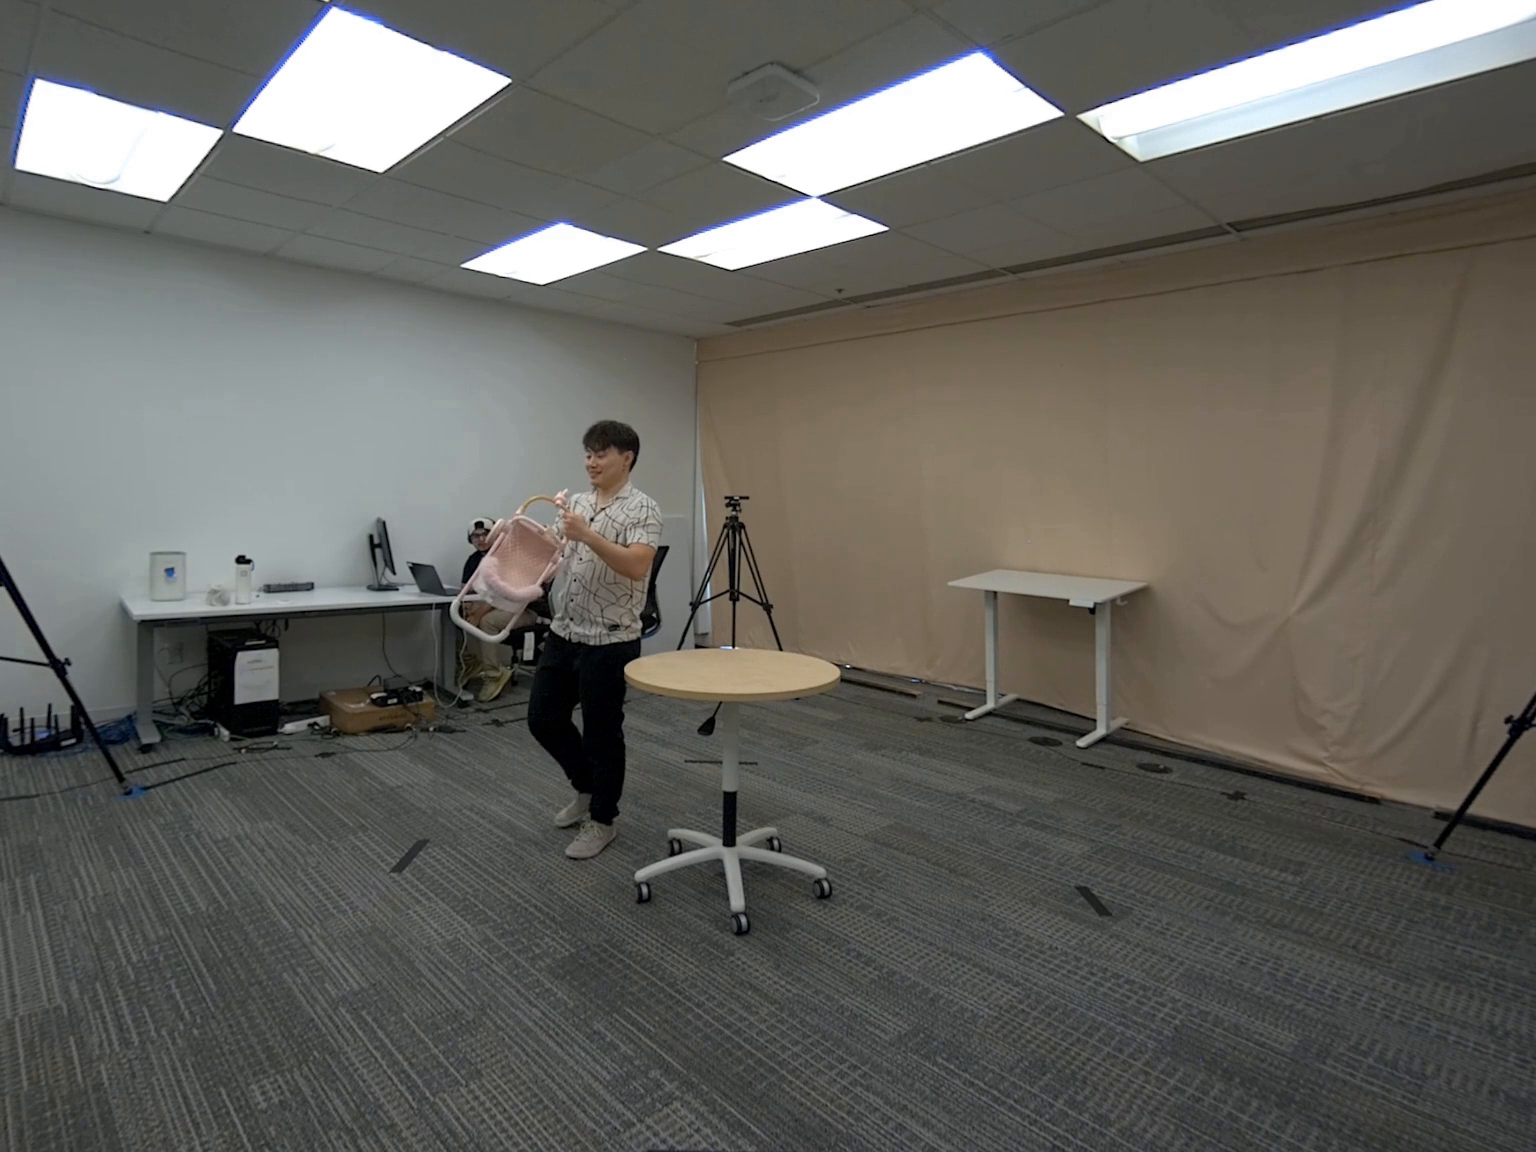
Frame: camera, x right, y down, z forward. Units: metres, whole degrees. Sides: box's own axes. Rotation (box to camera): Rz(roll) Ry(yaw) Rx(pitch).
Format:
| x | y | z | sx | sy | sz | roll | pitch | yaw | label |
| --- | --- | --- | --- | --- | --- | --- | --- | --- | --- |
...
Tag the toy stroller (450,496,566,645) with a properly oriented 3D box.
| x | y | z | sx | sy | sz | roll | pitch | yaw | label |
| --- | --- | --- | --- | --- | --- | --- | --- | --- | --- |
| -0.851 | -0.058 | 2.886 | 0.276 | 0.342 | 0.543 | 38 | 33 | -18 | toy stroller |
